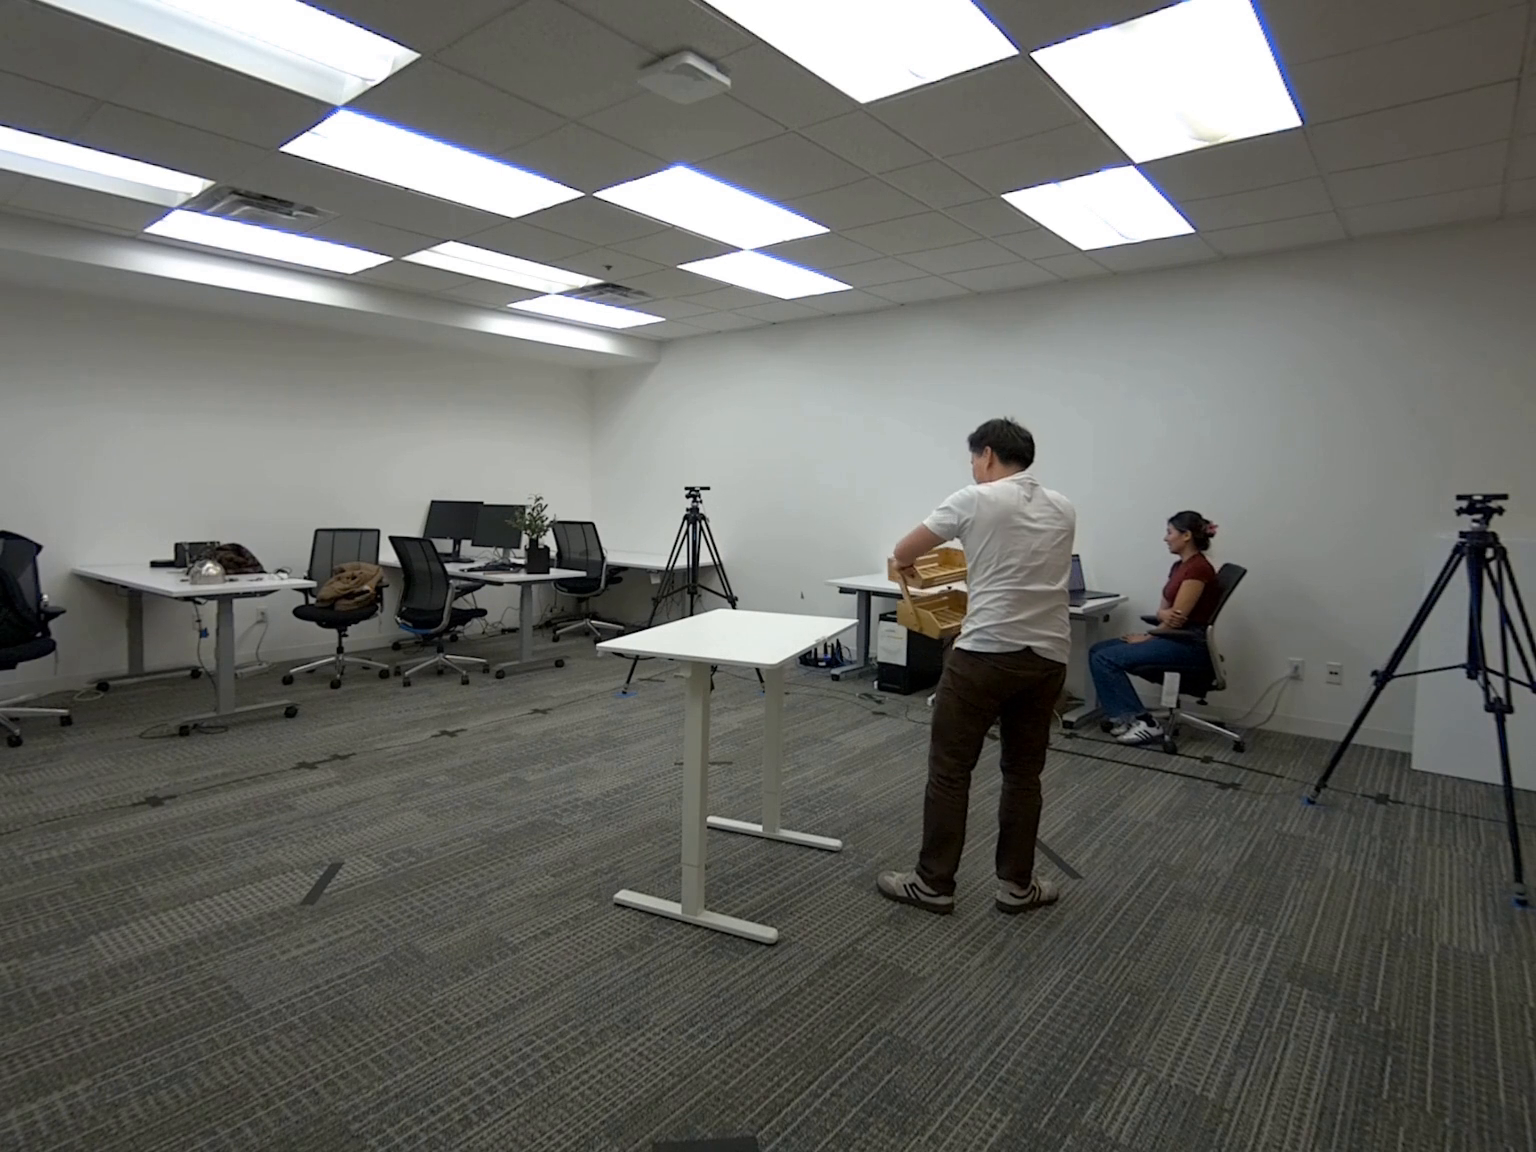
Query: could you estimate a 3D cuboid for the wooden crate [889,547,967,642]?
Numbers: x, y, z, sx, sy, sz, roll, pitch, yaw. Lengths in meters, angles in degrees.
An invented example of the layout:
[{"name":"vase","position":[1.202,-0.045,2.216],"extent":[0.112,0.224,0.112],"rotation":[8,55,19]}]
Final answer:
[{"name":"wooden crate","position":[0.668,0.062,3.269],"extent":[0.317,0.270,0.312],"rotation":[-9,14,-27]}]
